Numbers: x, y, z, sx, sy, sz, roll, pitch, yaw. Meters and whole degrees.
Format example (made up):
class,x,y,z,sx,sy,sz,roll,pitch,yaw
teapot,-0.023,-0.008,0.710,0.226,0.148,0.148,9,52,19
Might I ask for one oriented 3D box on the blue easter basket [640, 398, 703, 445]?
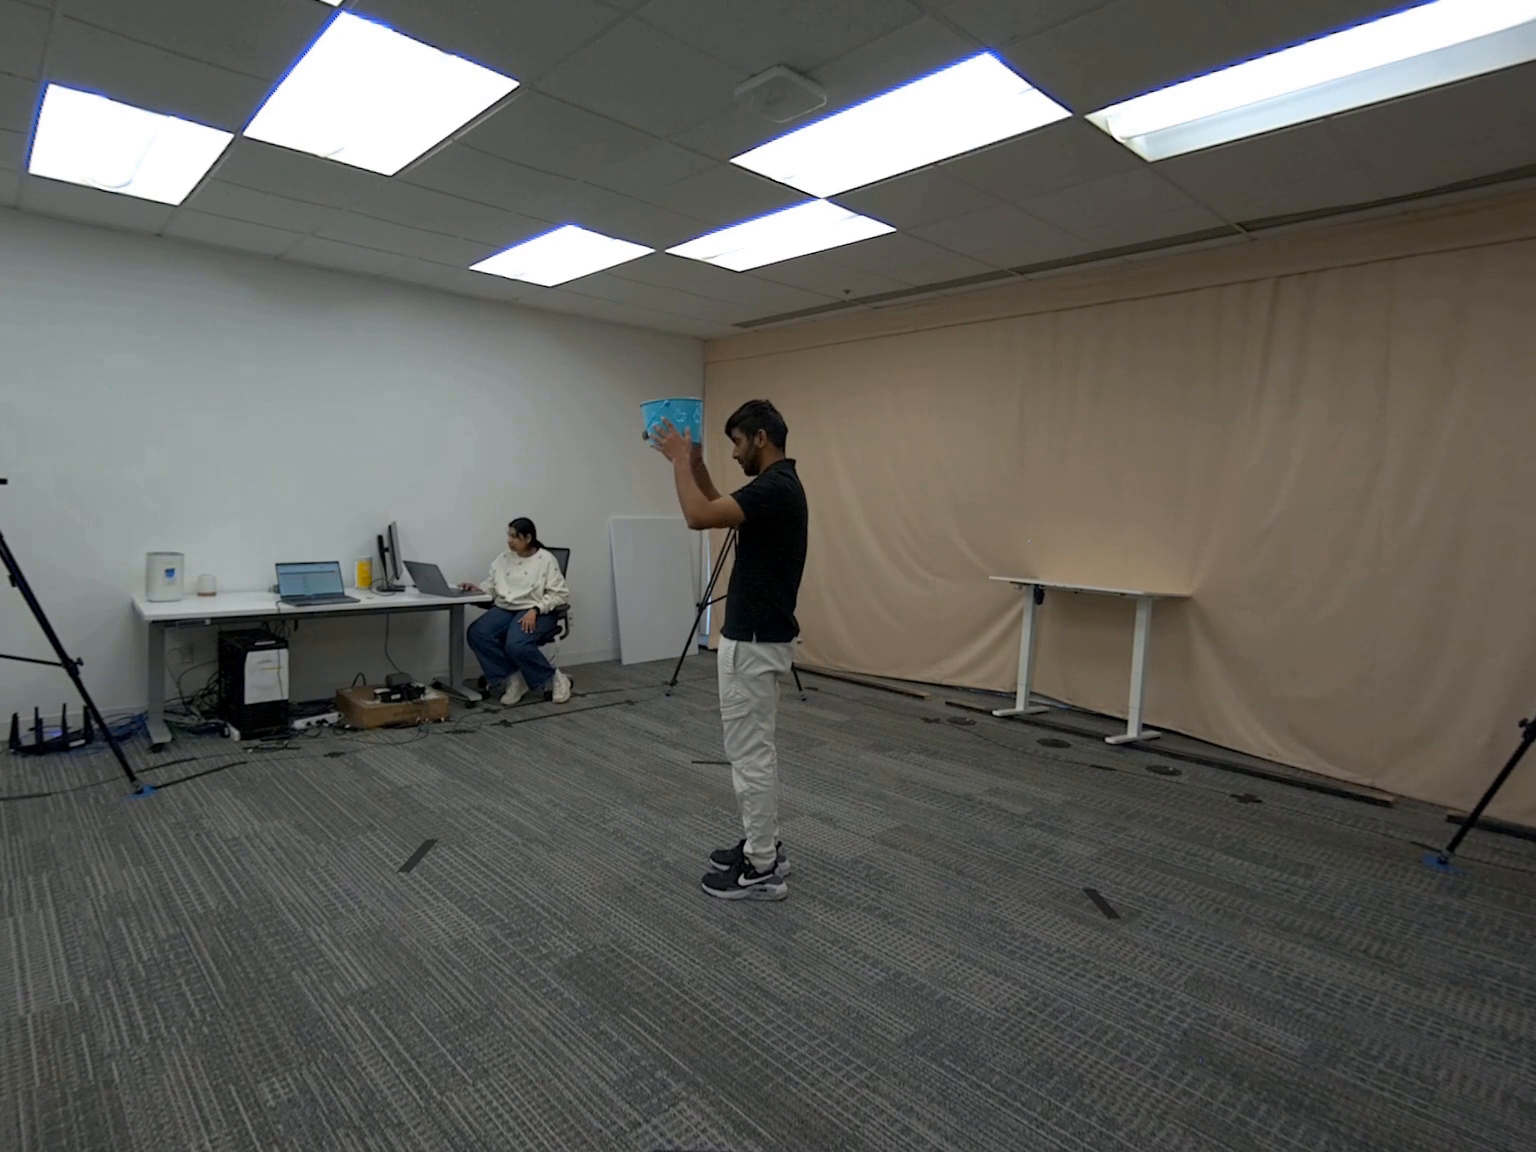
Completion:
class,x,y,z,sx,sy,sz,roll,pitch,yaw
blue easter basket,-0.348,-0.542,3.057,0.243,0.156,0.244,-4,1,-1
